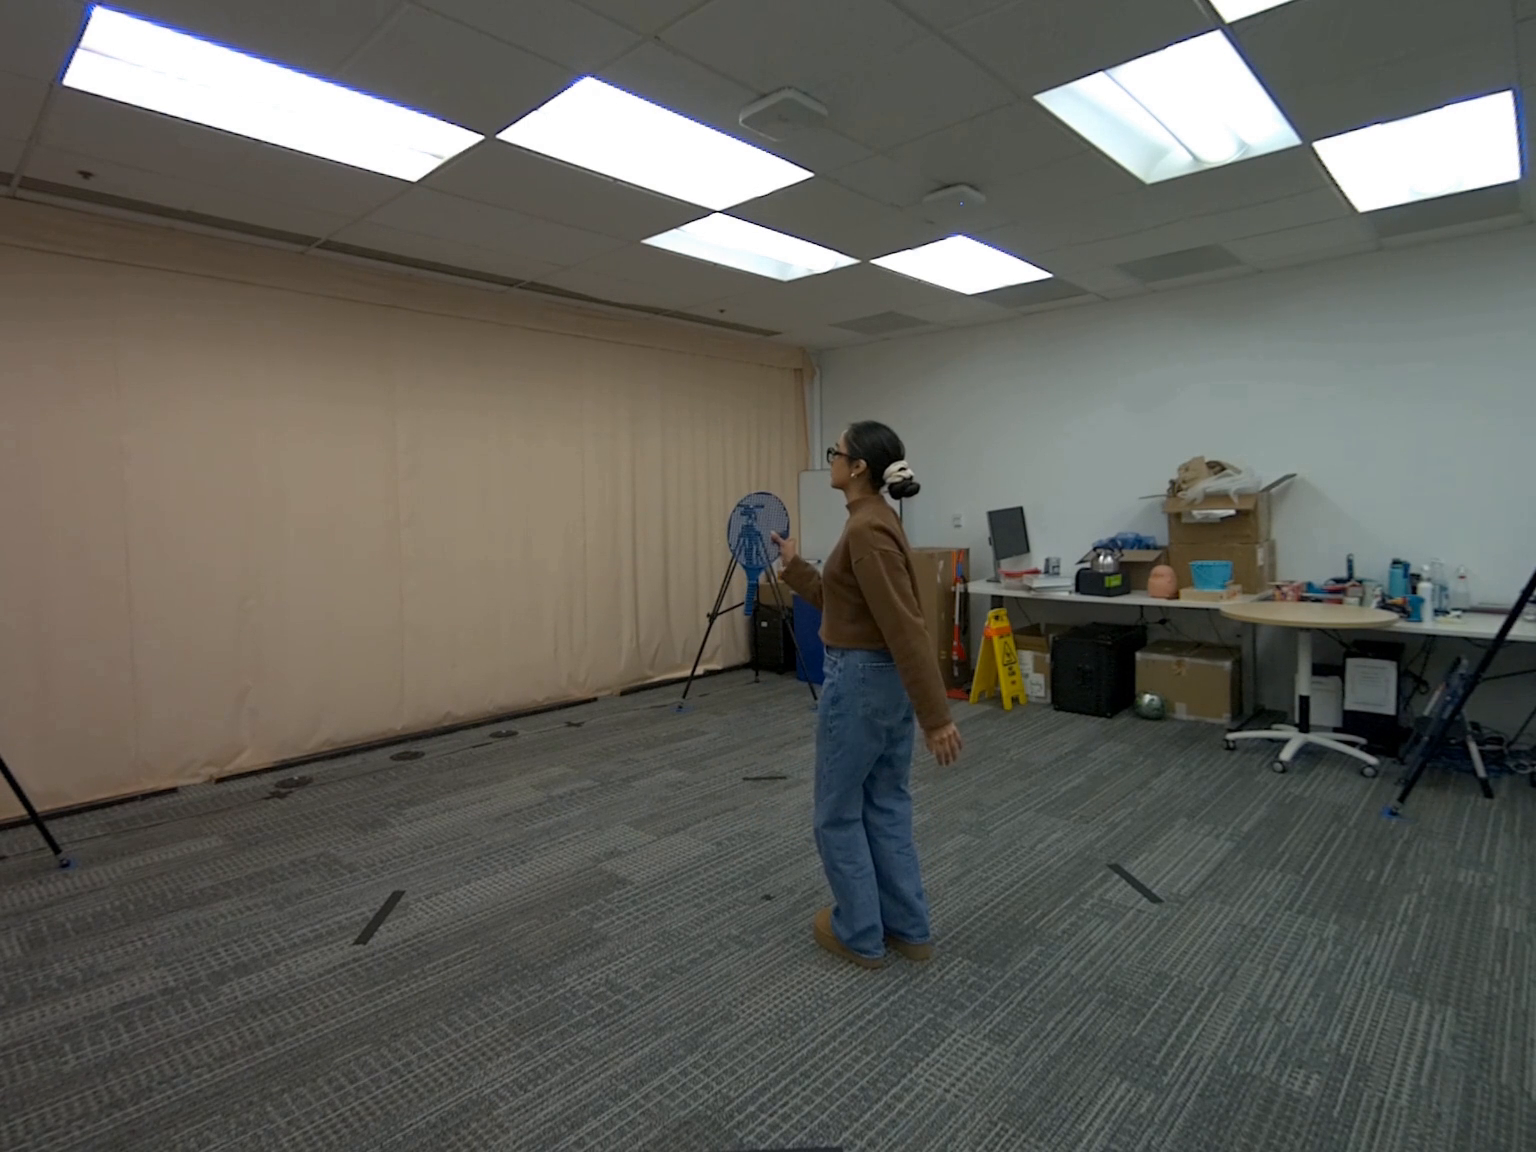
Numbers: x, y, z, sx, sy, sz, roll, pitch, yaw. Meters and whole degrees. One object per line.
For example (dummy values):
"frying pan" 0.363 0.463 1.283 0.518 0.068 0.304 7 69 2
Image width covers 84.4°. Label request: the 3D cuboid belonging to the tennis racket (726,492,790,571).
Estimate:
"tennis racket" -0.049 -0.068 2.831 0.211 0.429 0.032 2 14 -11
